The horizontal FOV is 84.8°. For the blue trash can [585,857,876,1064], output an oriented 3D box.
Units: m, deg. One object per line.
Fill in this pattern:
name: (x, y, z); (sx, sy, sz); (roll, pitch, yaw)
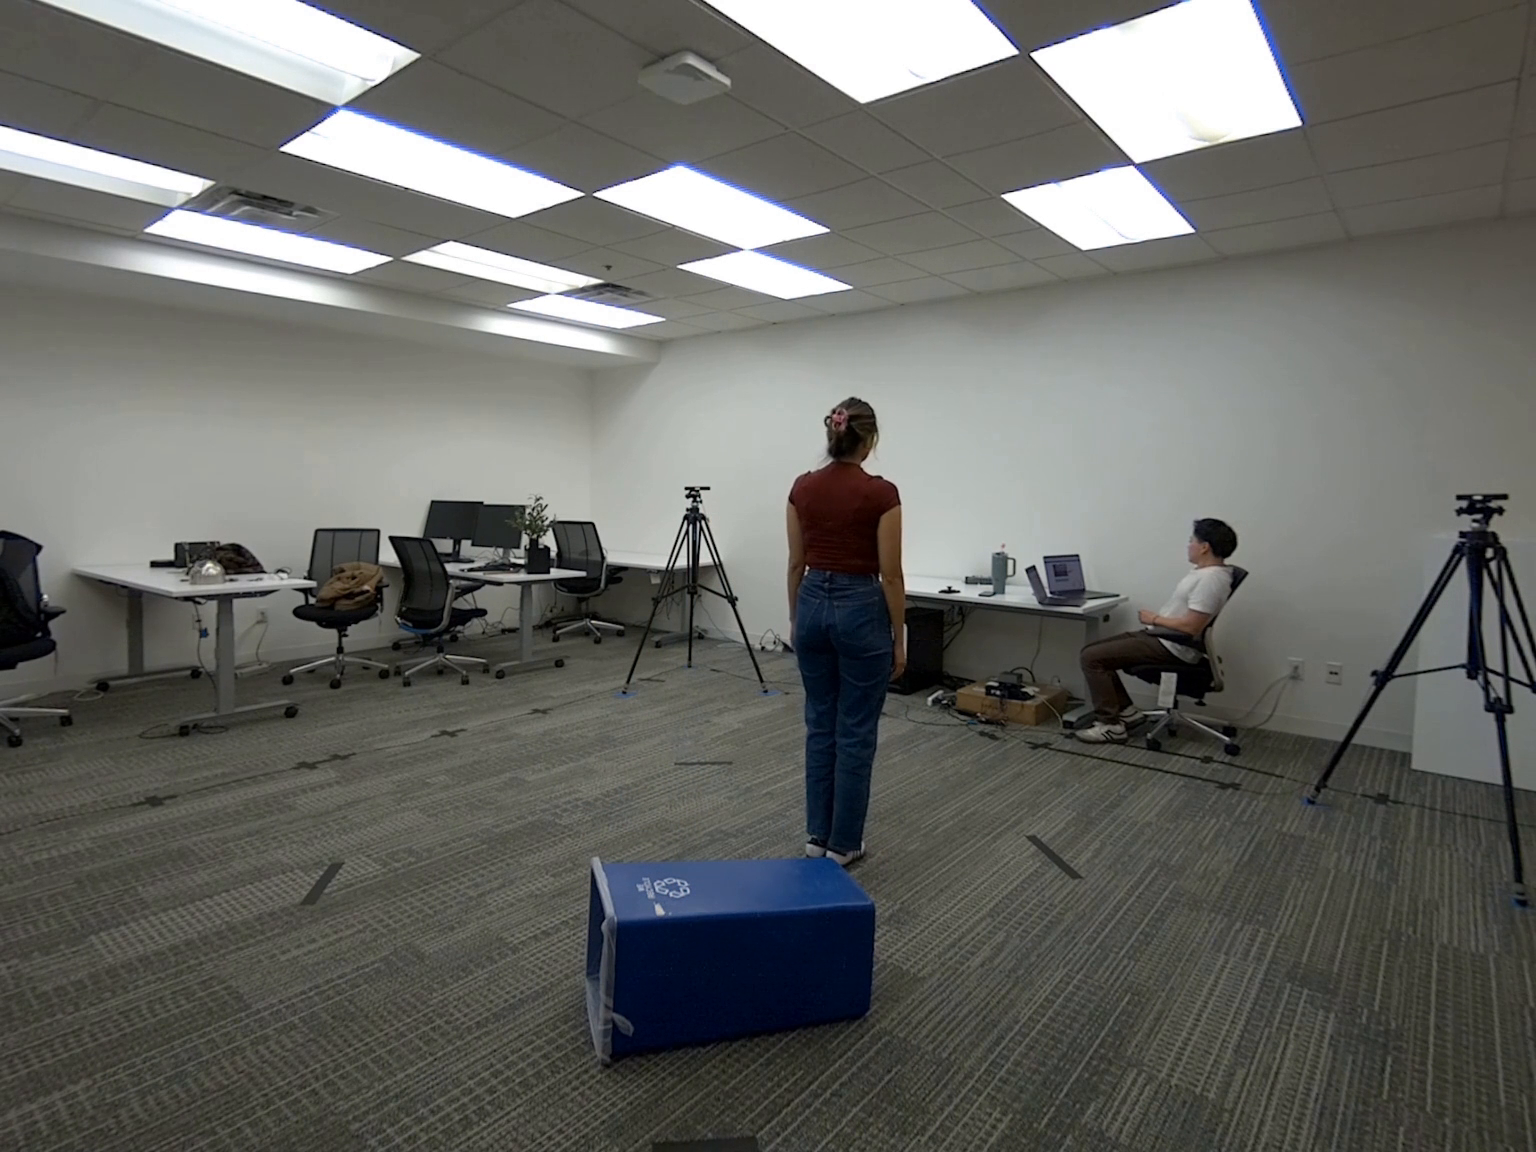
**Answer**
blue trash can: (-0.120, 0.982, 2.285); (0.701, 0.377, 0.382); (2, 4, -17)
